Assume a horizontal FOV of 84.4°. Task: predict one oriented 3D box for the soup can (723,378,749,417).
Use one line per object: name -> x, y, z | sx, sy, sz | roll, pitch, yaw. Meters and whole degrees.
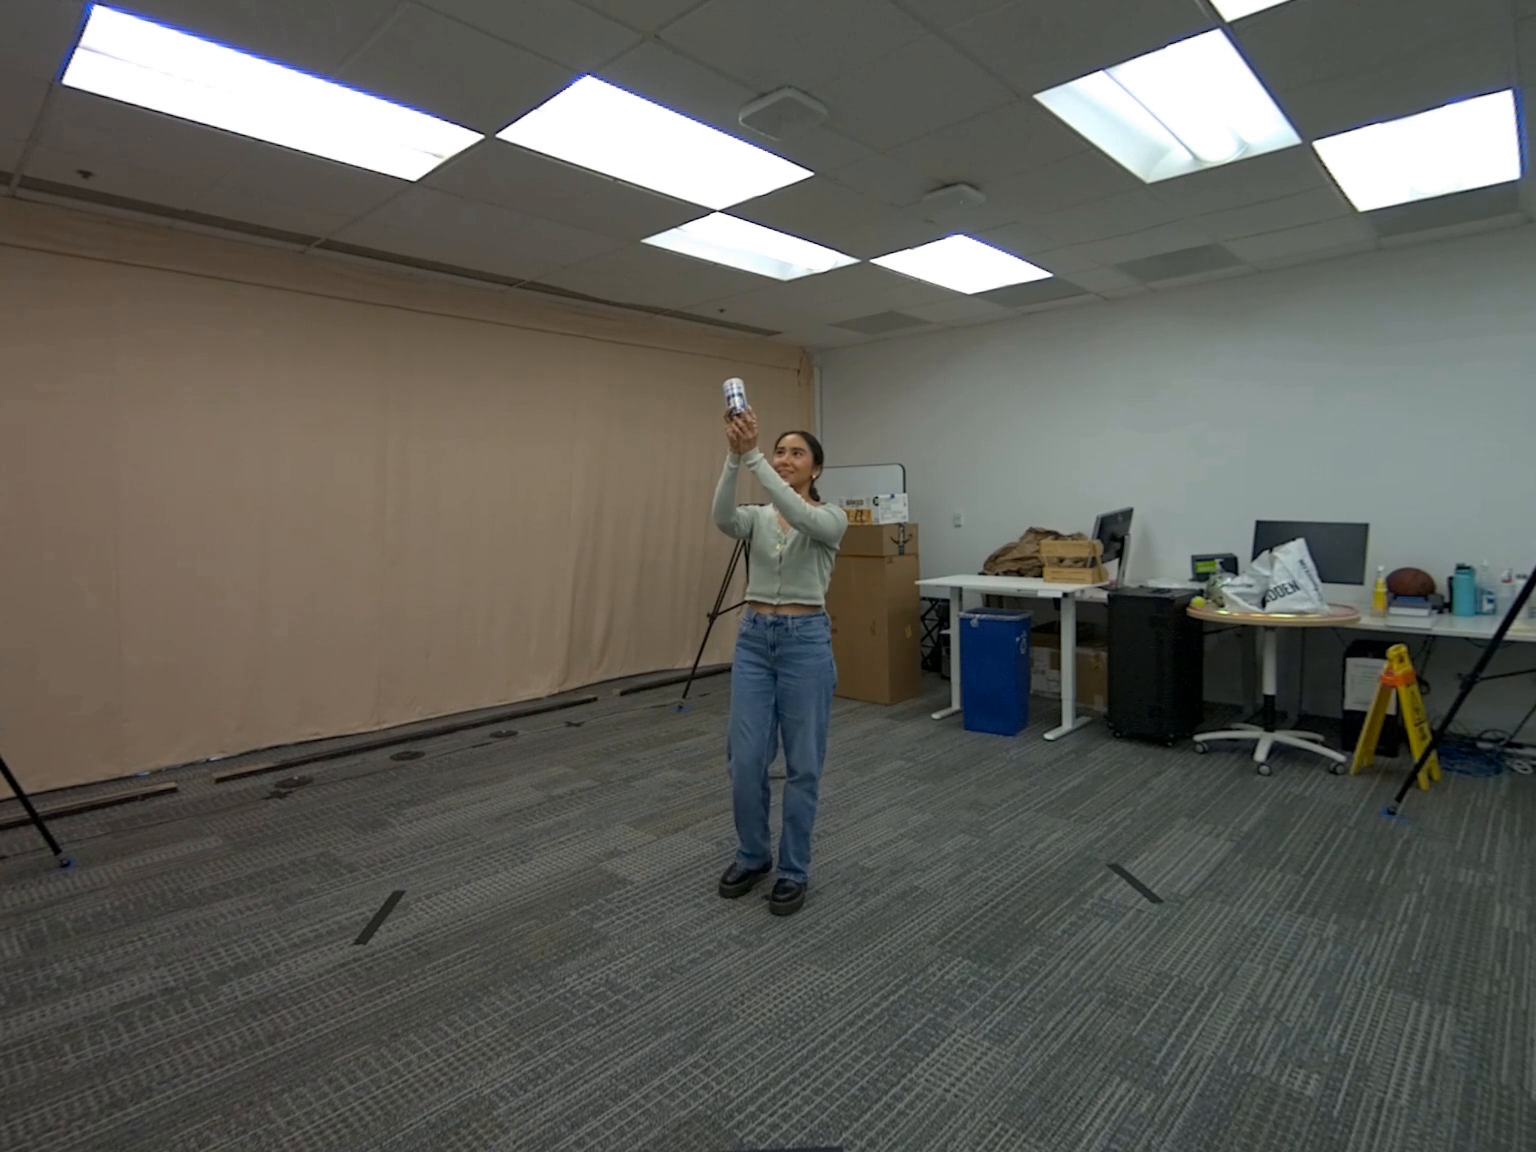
soup can -> -0.092, -0.558, 2.668 | 0.067, 0.123, 0.066 | -6, -15, -3
